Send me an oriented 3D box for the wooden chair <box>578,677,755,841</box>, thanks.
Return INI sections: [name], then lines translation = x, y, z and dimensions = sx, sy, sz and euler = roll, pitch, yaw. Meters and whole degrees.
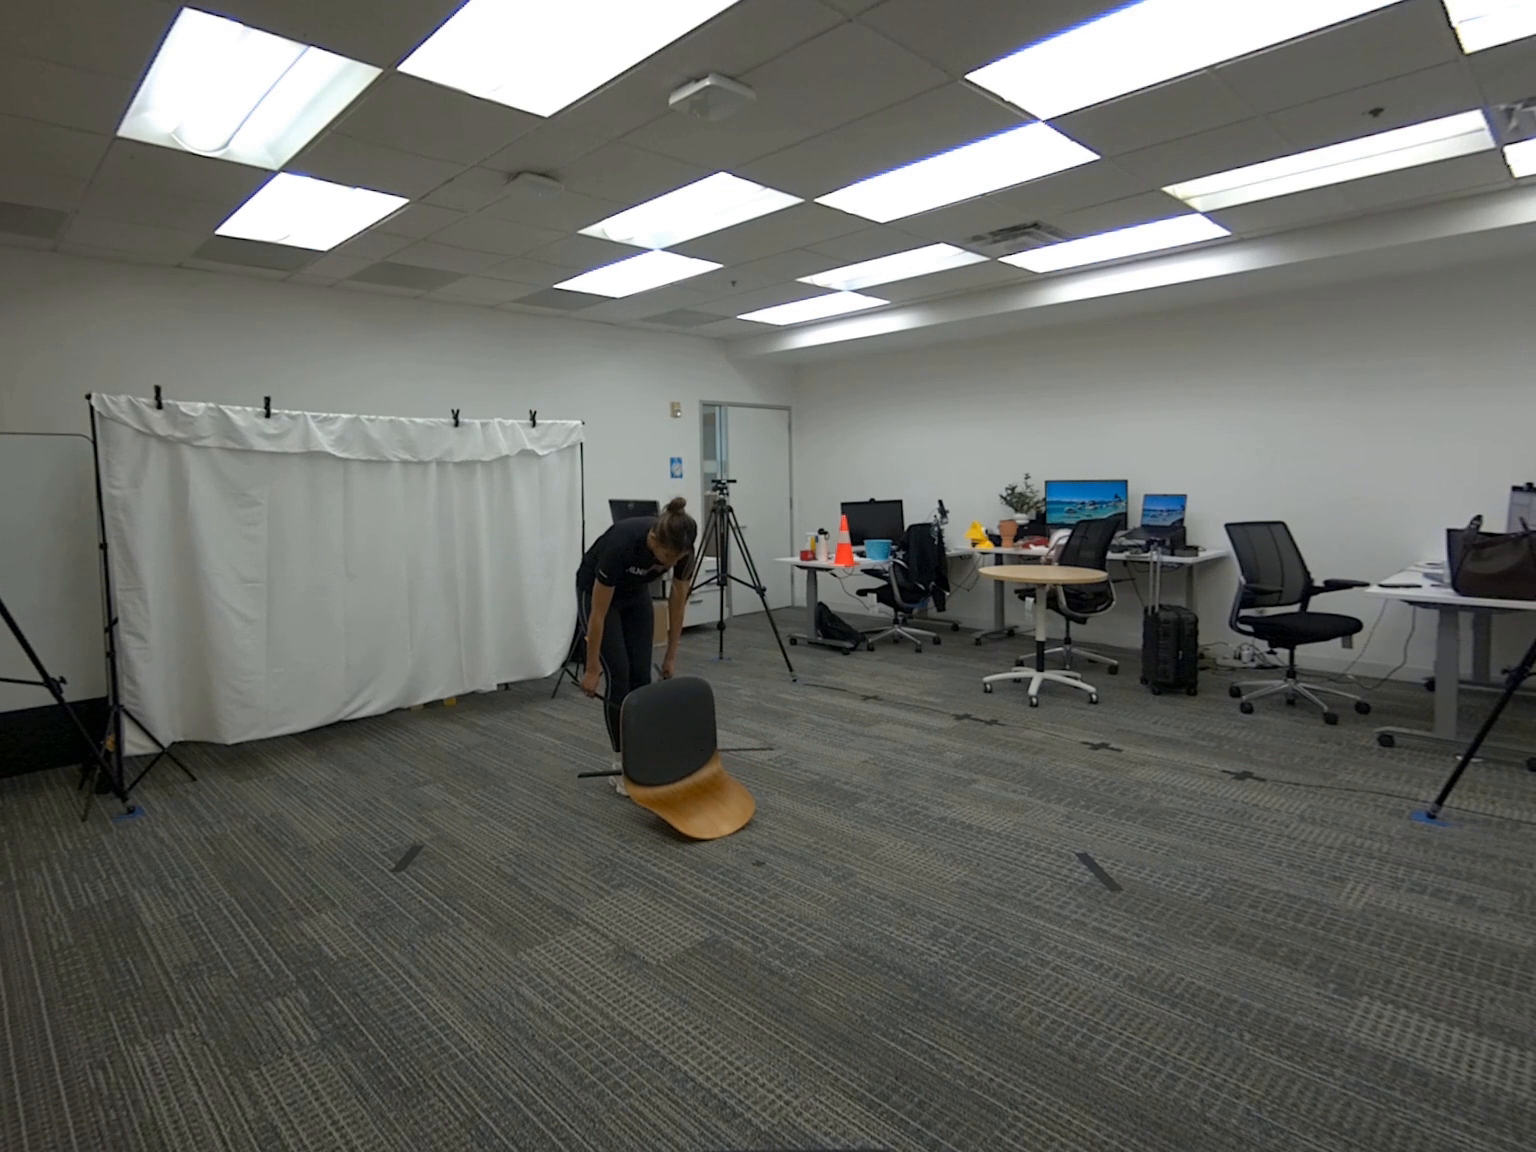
[wooden chair]
translation = -0.440, 0.702, 3.659
dimensions = 0.466, 0.518, 0.907
euler = -7, 13, -37
